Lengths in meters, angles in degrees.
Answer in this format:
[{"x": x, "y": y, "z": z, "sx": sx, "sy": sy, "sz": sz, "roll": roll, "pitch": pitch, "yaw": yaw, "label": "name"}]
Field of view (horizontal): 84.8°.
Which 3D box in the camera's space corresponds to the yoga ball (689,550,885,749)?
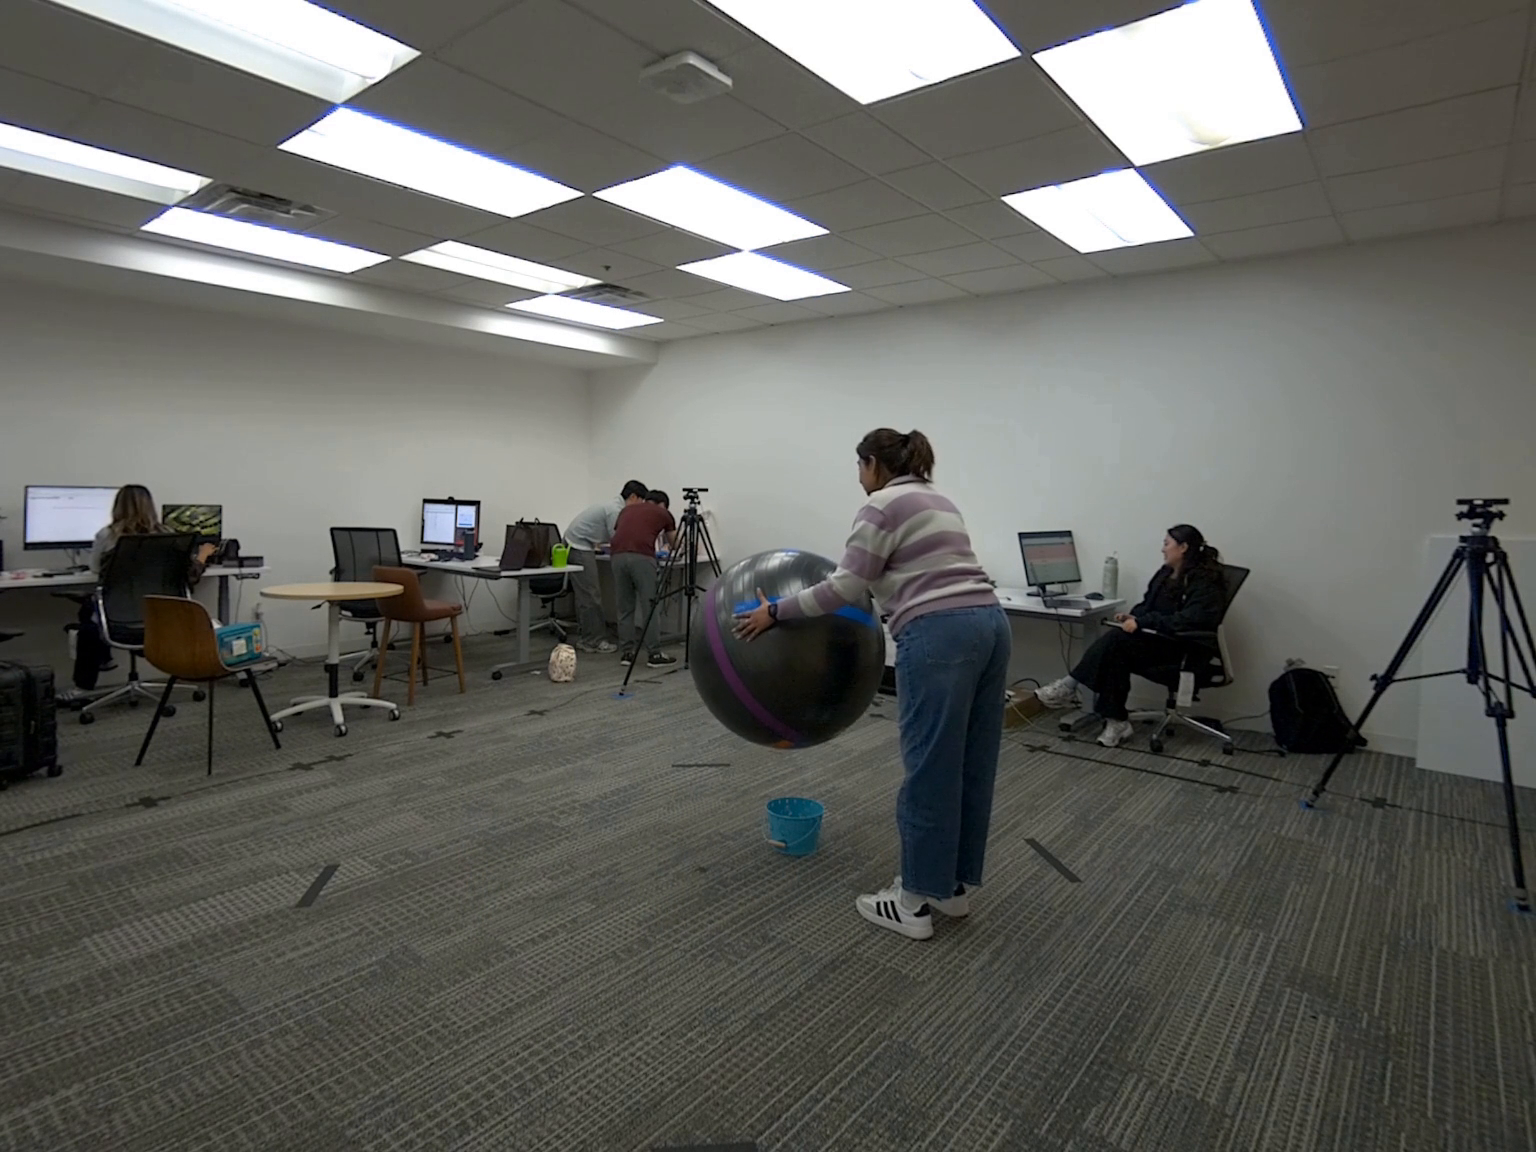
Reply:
[{"x": 0.066, "y": 0.284, "z": 3.278, "sx": 0.757, "sy": 0.755, "sz": 0.762, "roll": 1, "pitch": 4, "yaw": -2, "label": "yoga ball"}]
